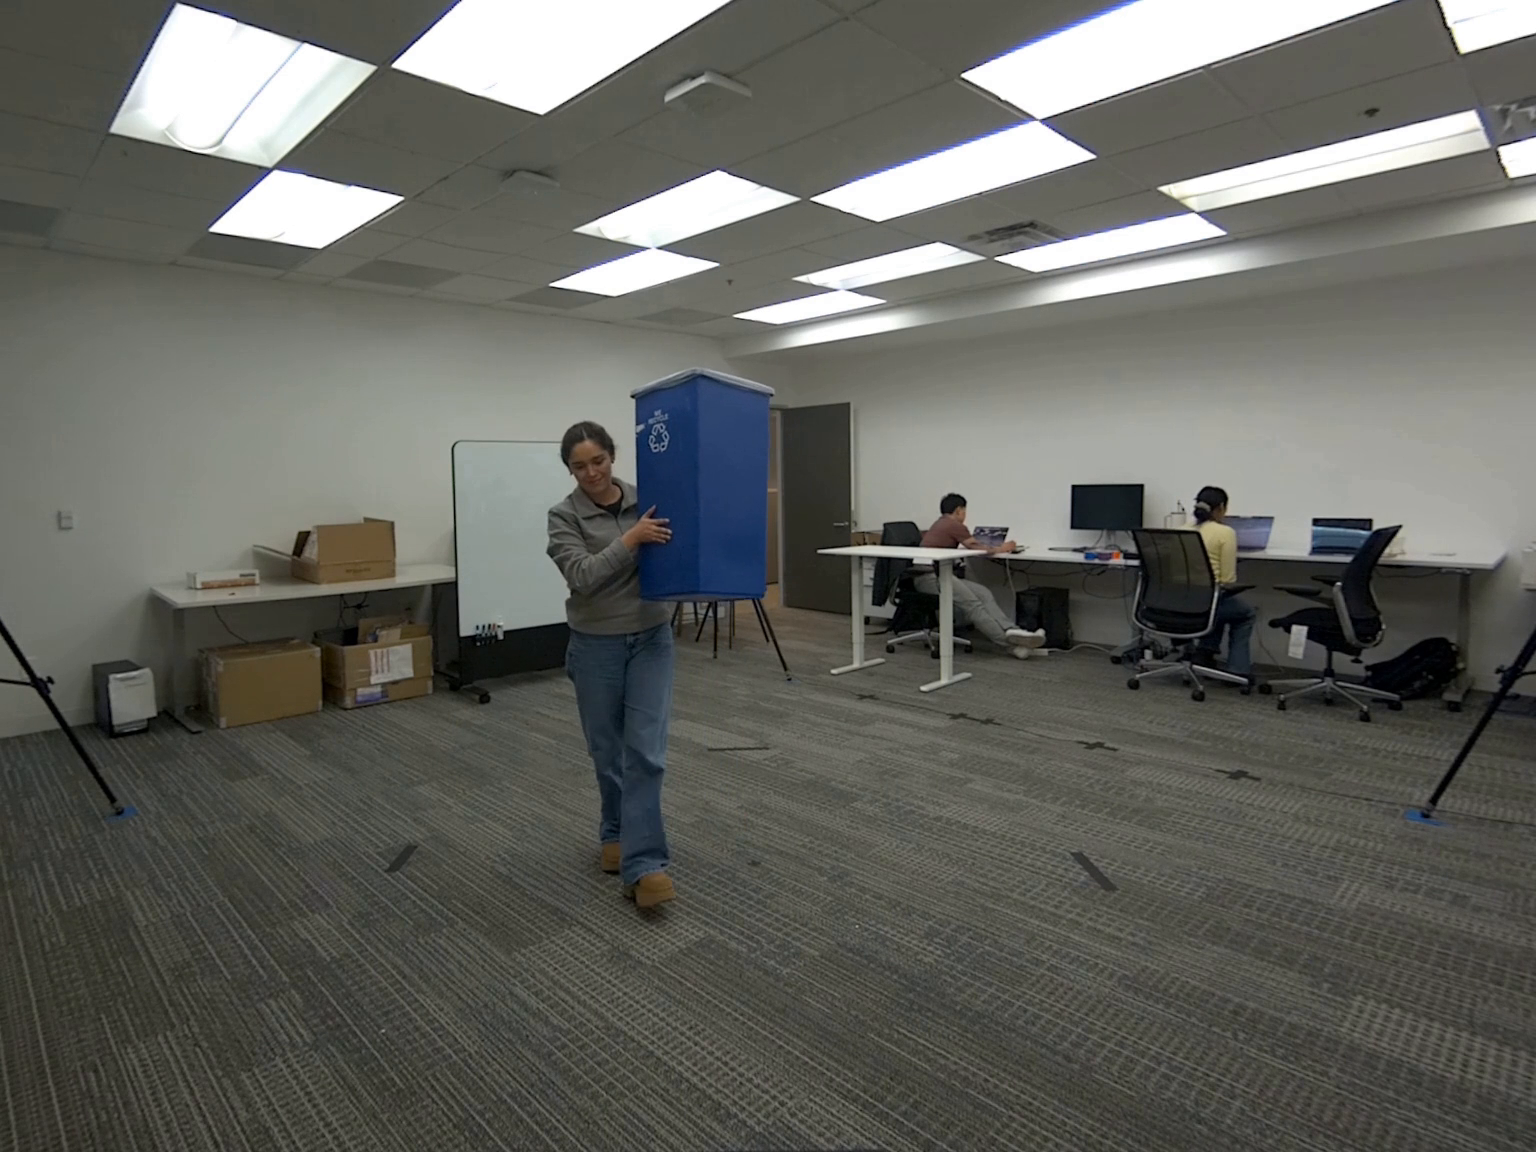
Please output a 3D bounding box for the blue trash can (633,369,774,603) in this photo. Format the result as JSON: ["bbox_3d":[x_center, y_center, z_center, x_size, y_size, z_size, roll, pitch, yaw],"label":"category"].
[{"bbox_3d":[-0.205,-0.288,2.869,0.366,0.719,0.383,6,-10,-44],"label":"blue trash can"}]
